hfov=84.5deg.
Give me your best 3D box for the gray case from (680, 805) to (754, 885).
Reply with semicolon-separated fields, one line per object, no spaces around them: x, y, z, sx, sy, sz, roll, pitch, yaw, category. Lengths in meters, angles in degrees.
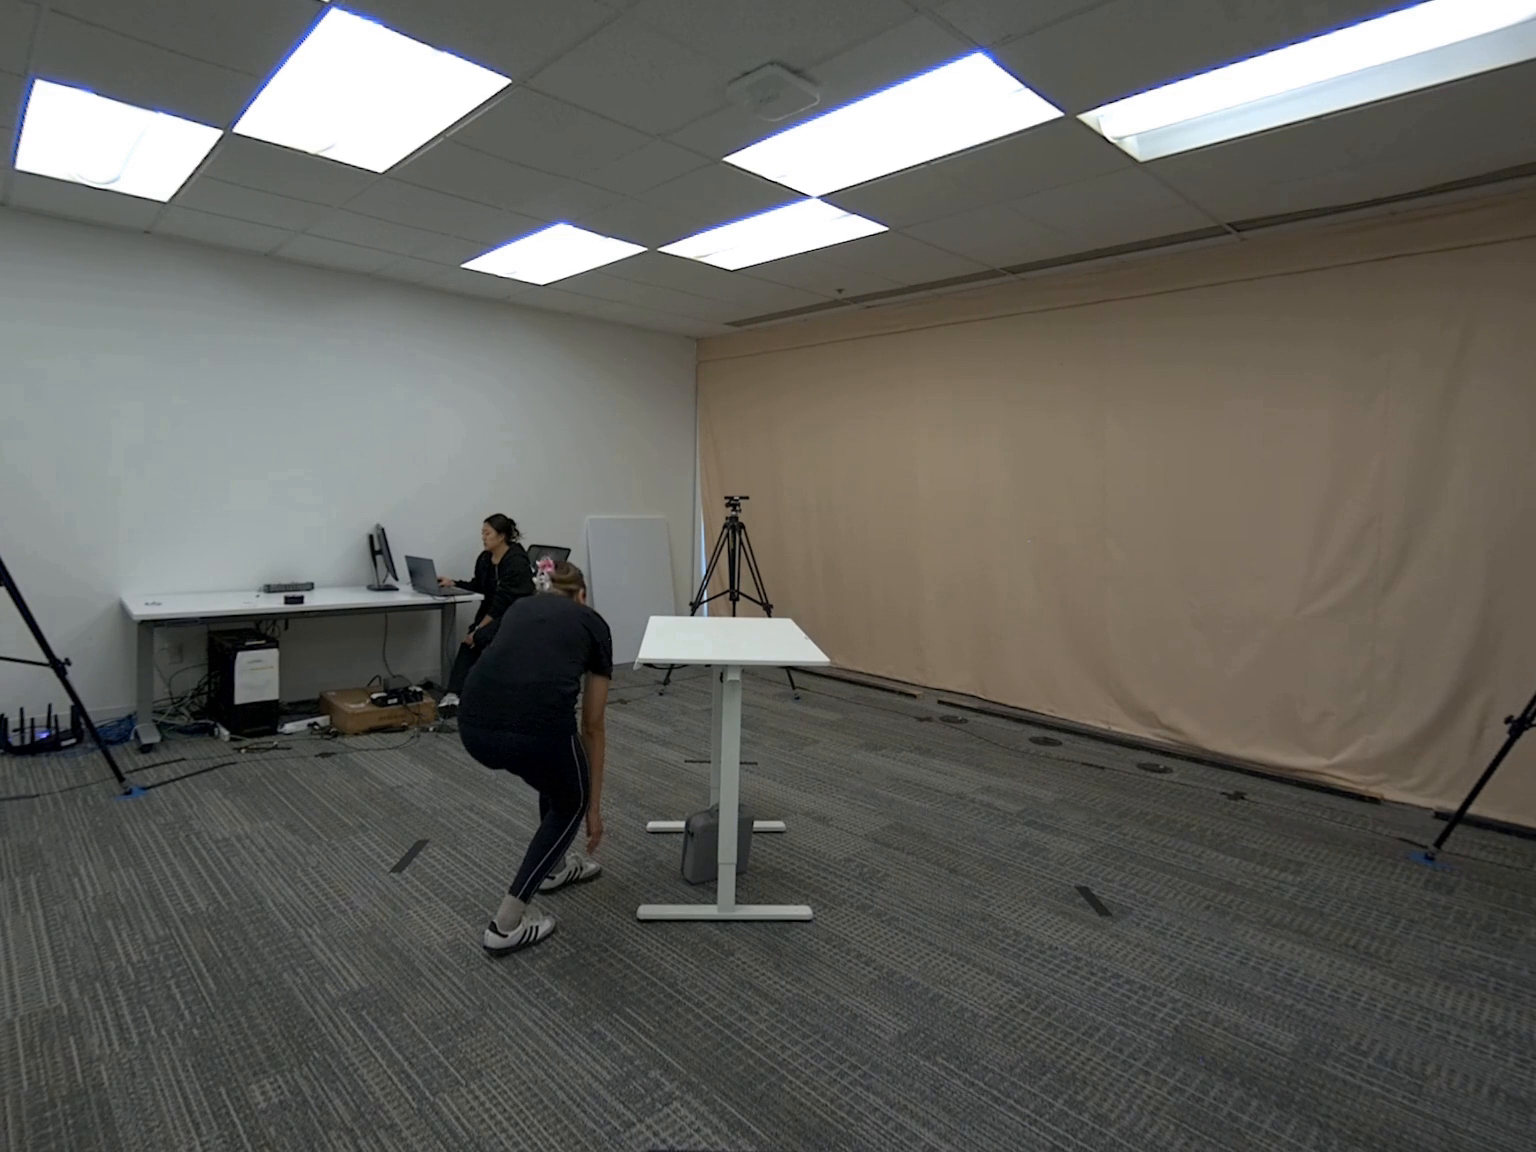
-0.188;0.974;3.081;0.252;0.258;0.107;-2;16;-31;gray case
